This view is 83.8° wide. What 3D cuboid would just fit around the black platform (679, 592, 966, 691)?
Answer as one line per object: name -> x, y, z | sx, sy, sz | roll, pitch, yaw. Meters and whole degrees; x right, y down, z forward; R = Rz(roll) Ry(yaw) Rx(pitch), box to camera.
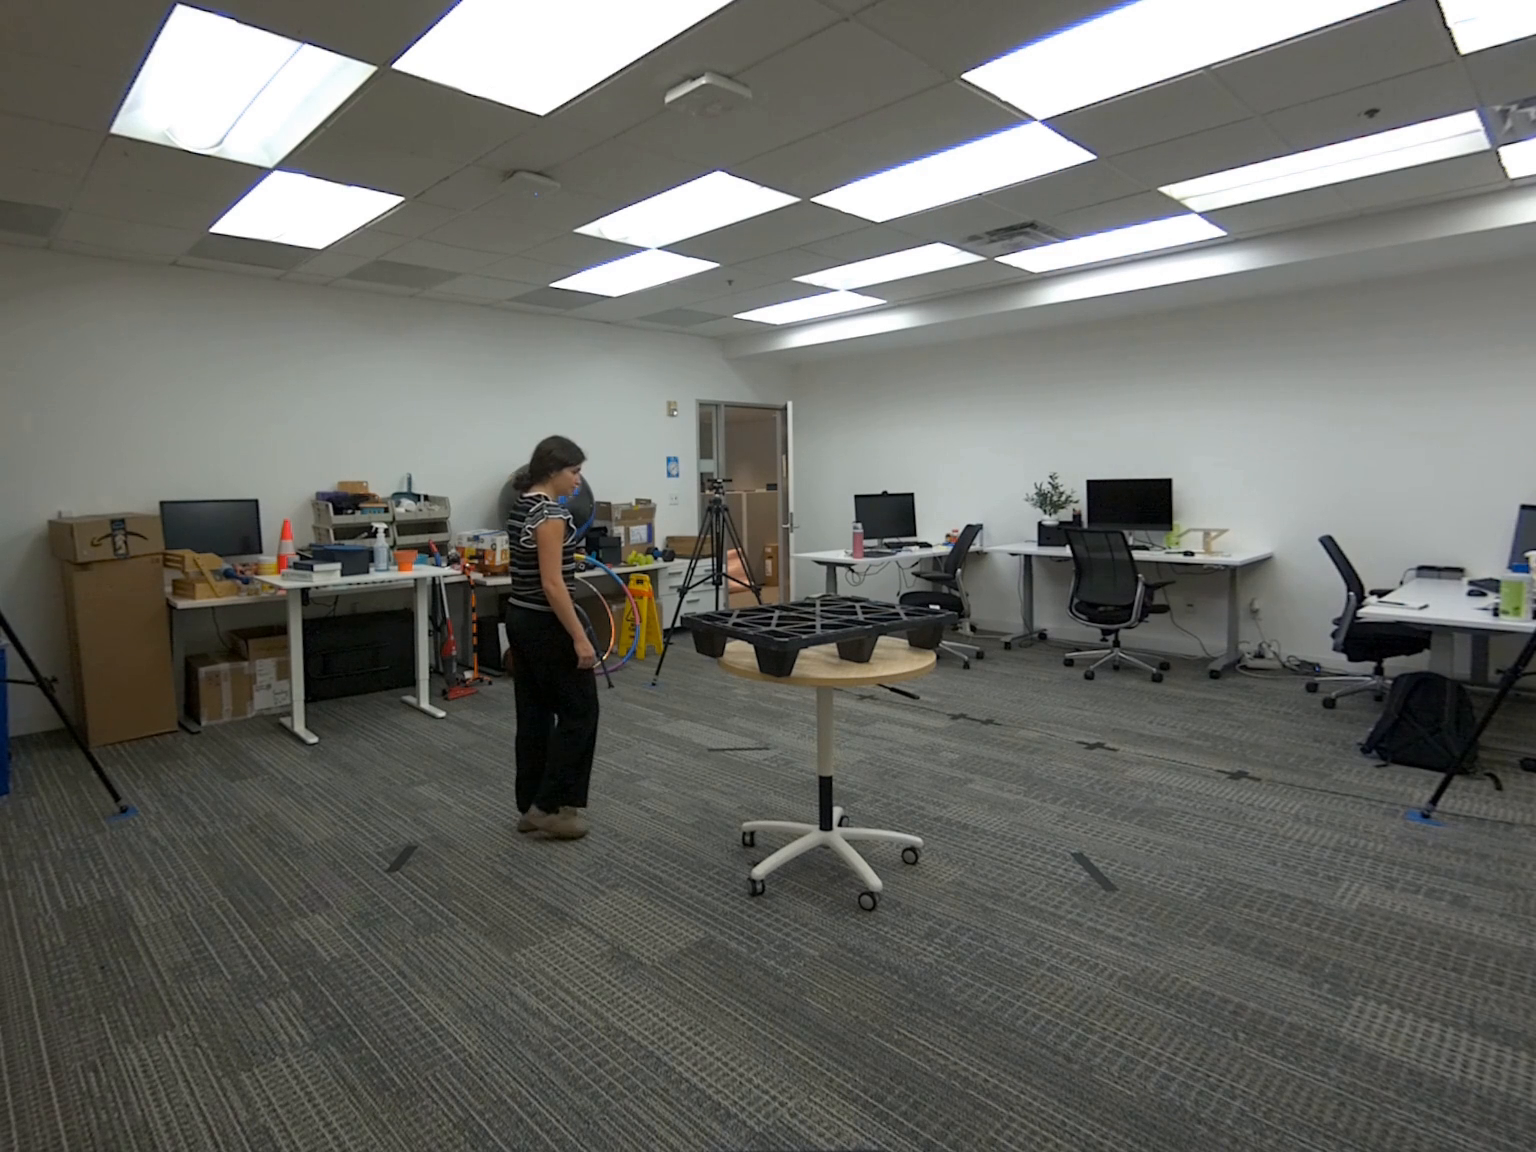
black platform -> 0.189, 0.204, 3.035 | 0.785, 0.142, 0.624 | -6, 9, -36
